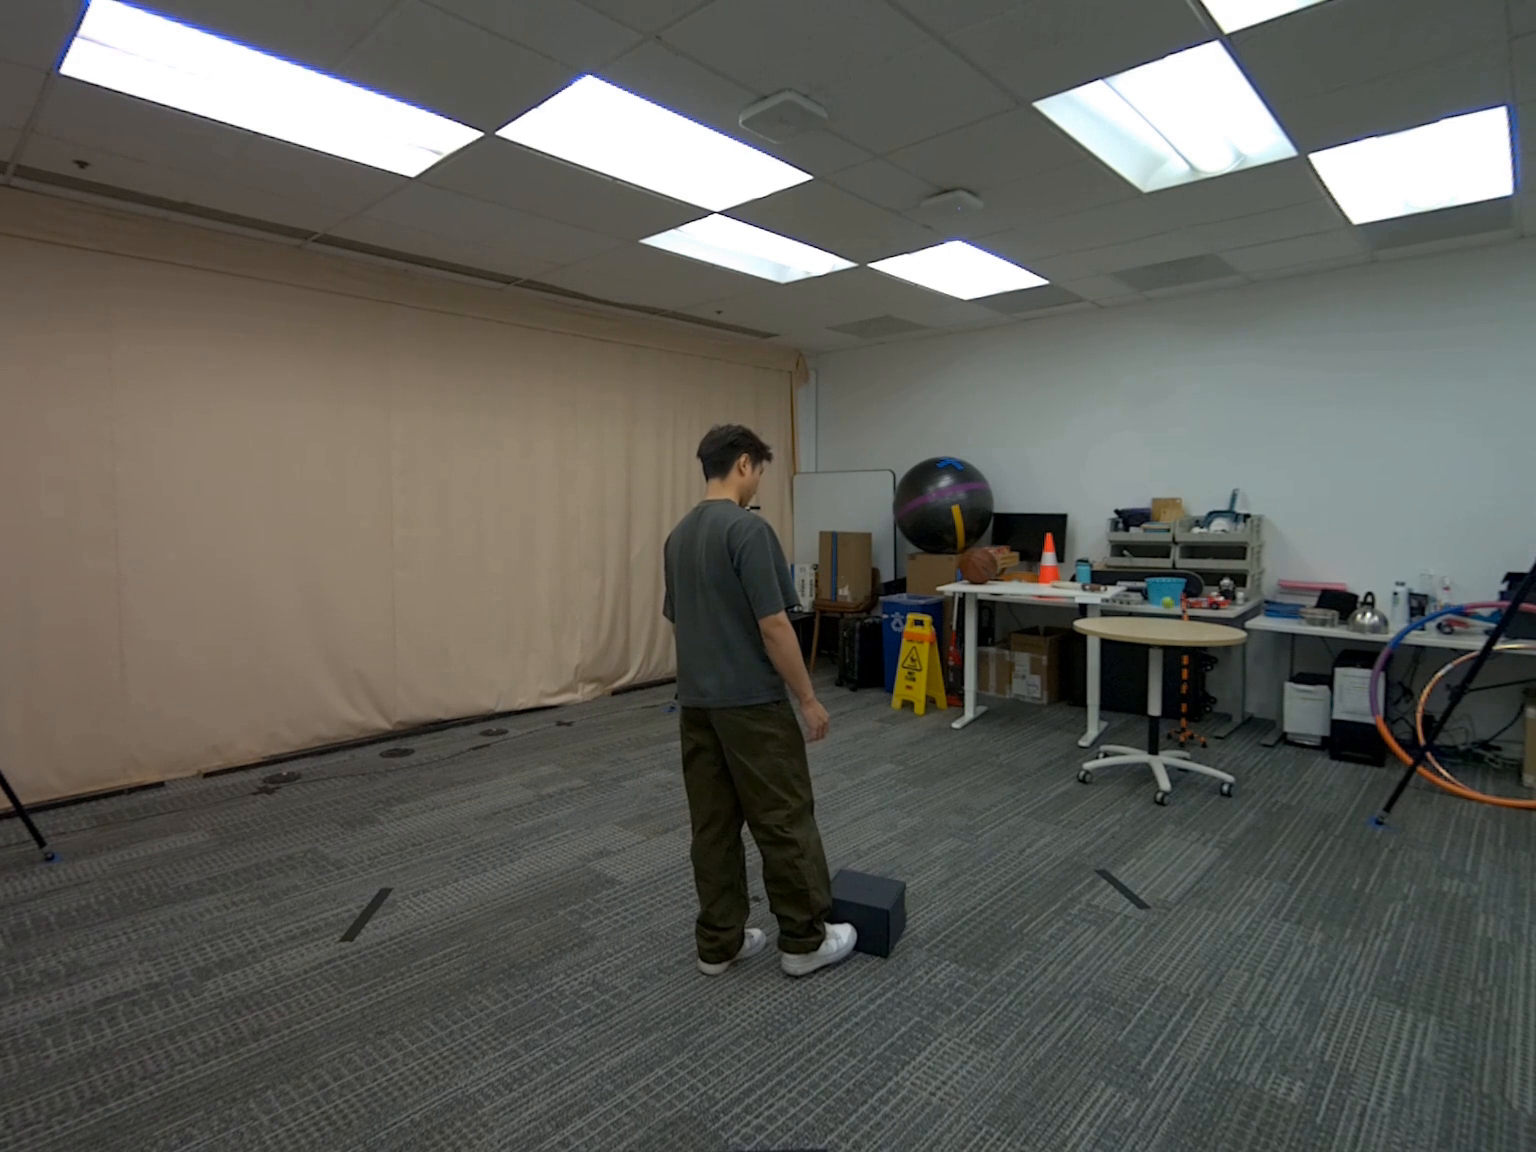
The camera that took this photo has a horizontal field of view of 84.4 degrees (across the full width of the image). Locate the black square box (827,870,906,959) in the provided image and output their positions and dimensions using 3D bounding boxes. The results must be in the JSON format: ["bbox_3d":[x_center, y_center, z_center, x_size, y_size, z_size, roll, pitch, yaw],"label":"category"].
[{"bbox_3d":[0.312,1.081,2.719,0.234,0.155,0.212,2,4,25],"label":"black square box"}]
